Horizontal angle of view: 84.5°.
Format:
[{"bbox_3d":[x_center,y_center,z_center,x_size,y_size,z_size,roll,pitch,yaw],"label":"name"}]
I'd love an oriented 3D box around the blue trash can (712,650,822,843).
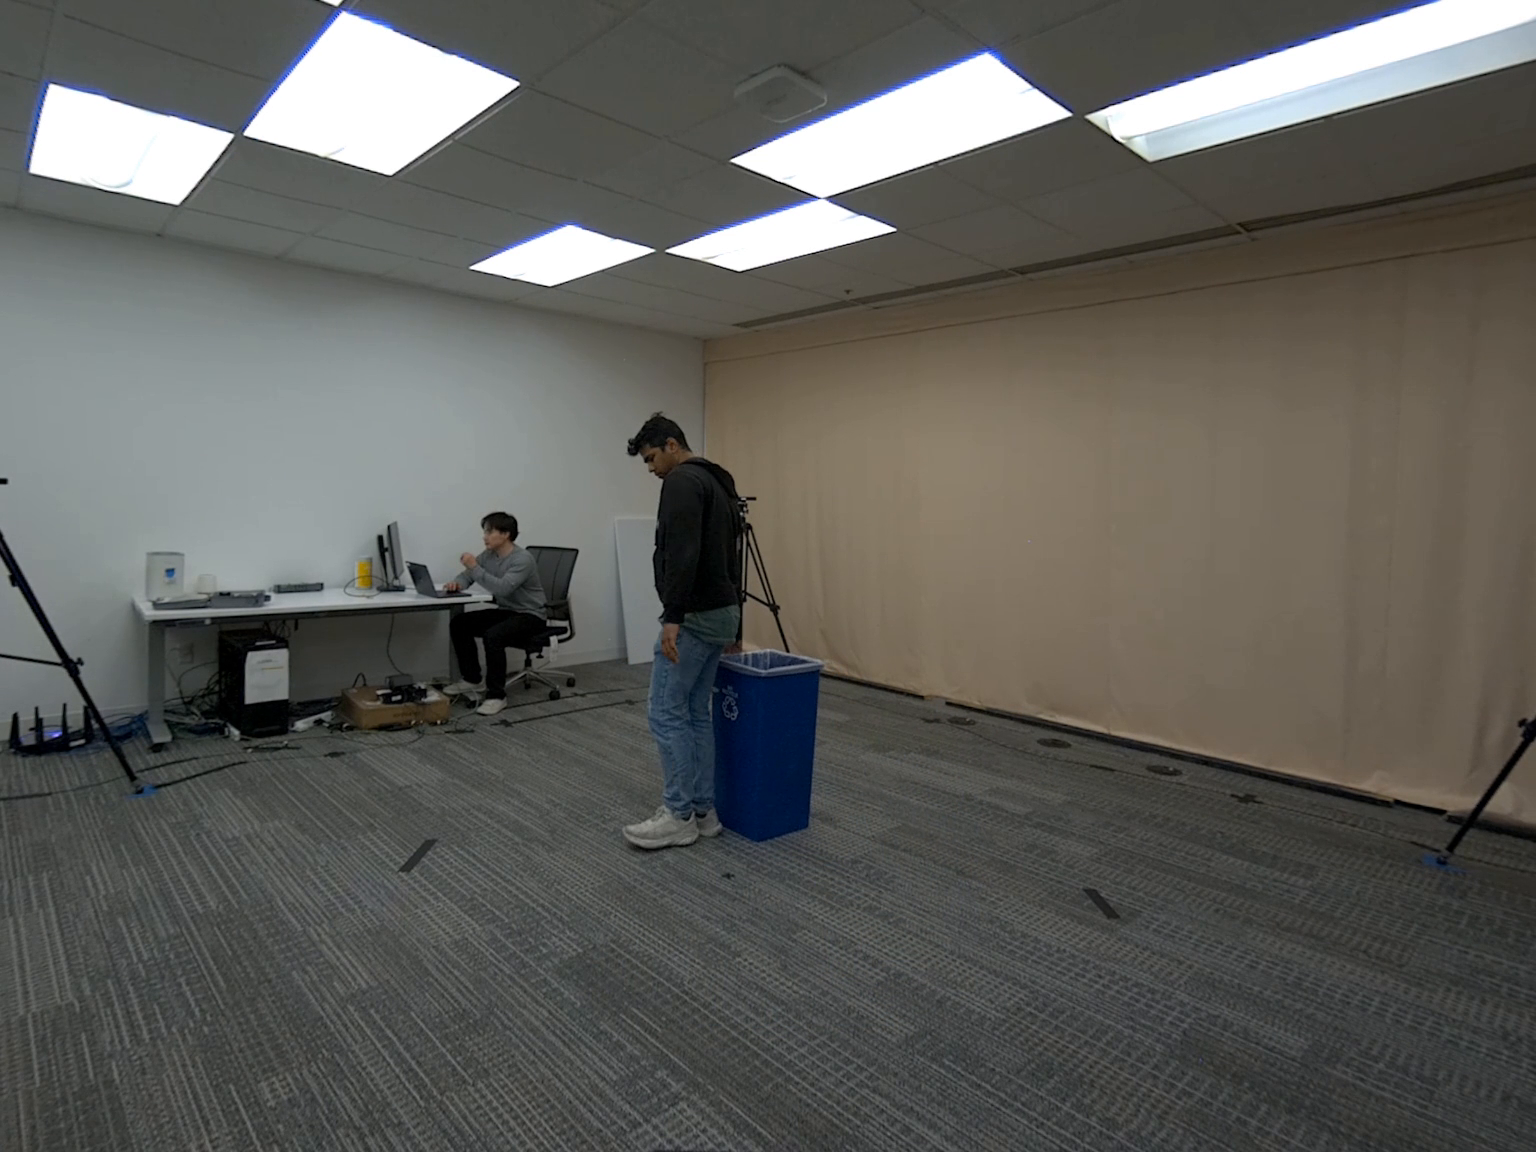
[{"bbox_3d":[-0.026,0.706,3.590,0.365,0.712,0.388,0,4,-40],"label":"blue trash can"}]
